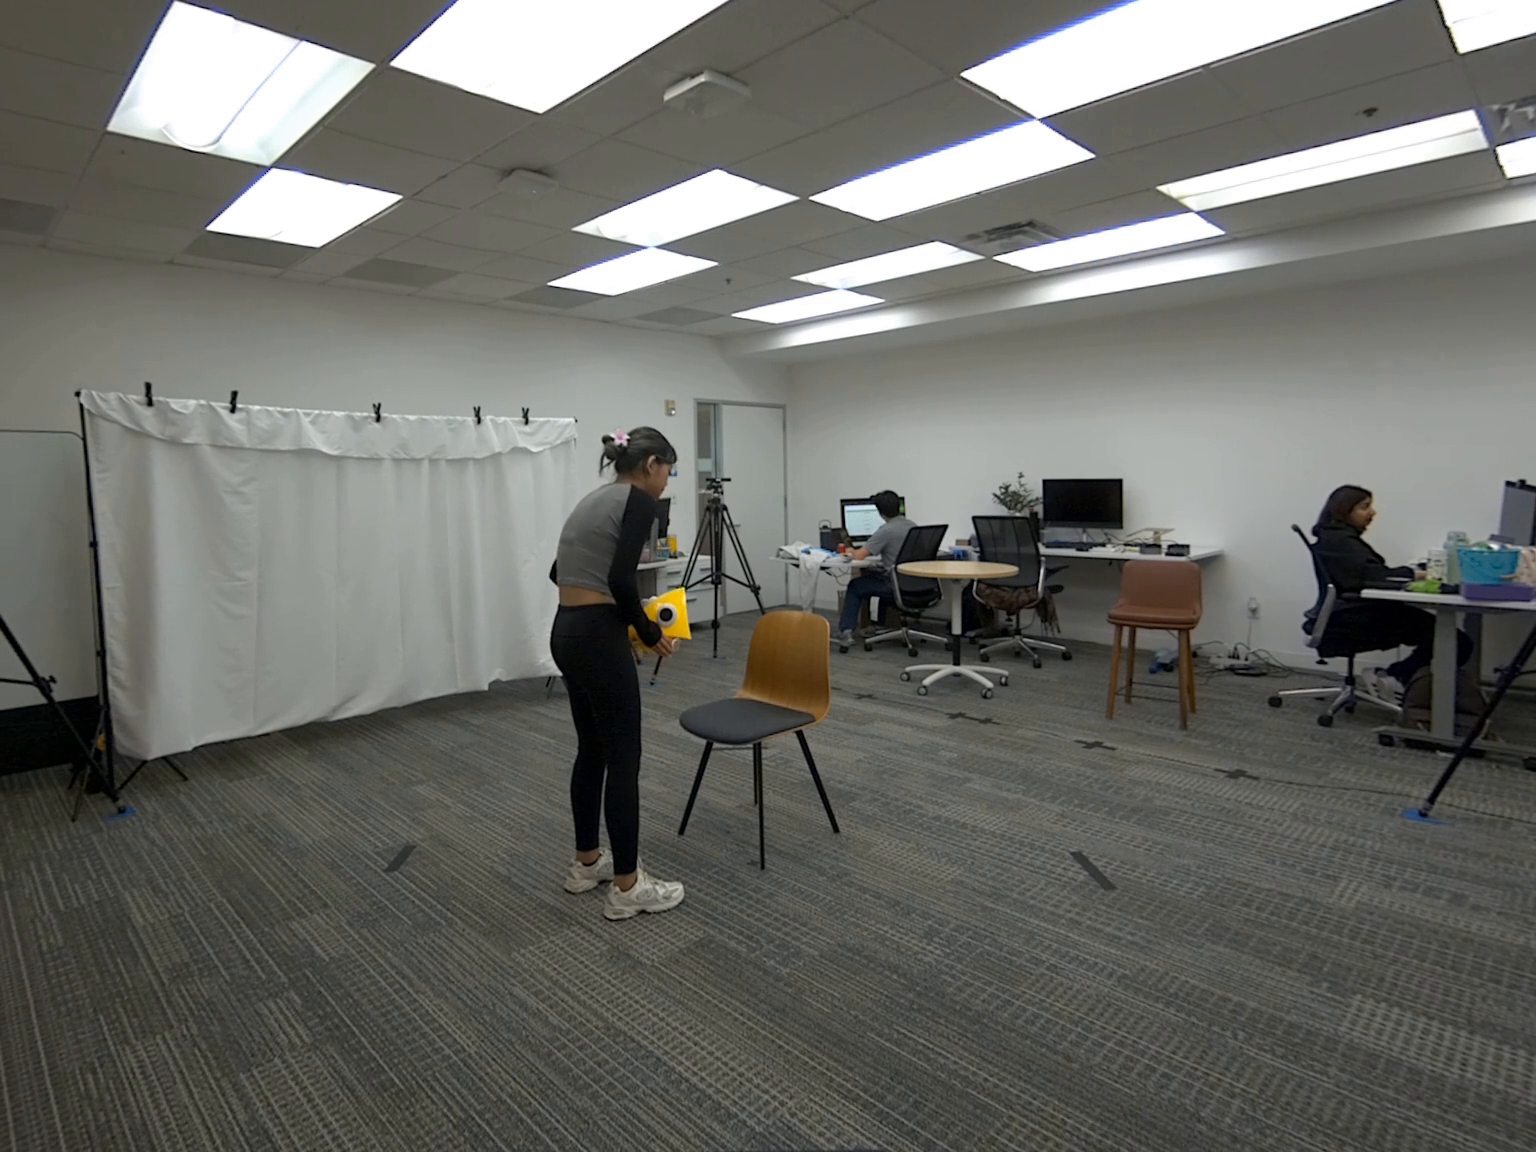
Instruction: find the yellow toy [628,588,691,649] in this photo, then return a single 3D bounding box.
[{"bbox_3d":[-0.370,0.136,2.938,0.186,0.231,0.212,19,0,-35],"label":"yellow toy"}]
